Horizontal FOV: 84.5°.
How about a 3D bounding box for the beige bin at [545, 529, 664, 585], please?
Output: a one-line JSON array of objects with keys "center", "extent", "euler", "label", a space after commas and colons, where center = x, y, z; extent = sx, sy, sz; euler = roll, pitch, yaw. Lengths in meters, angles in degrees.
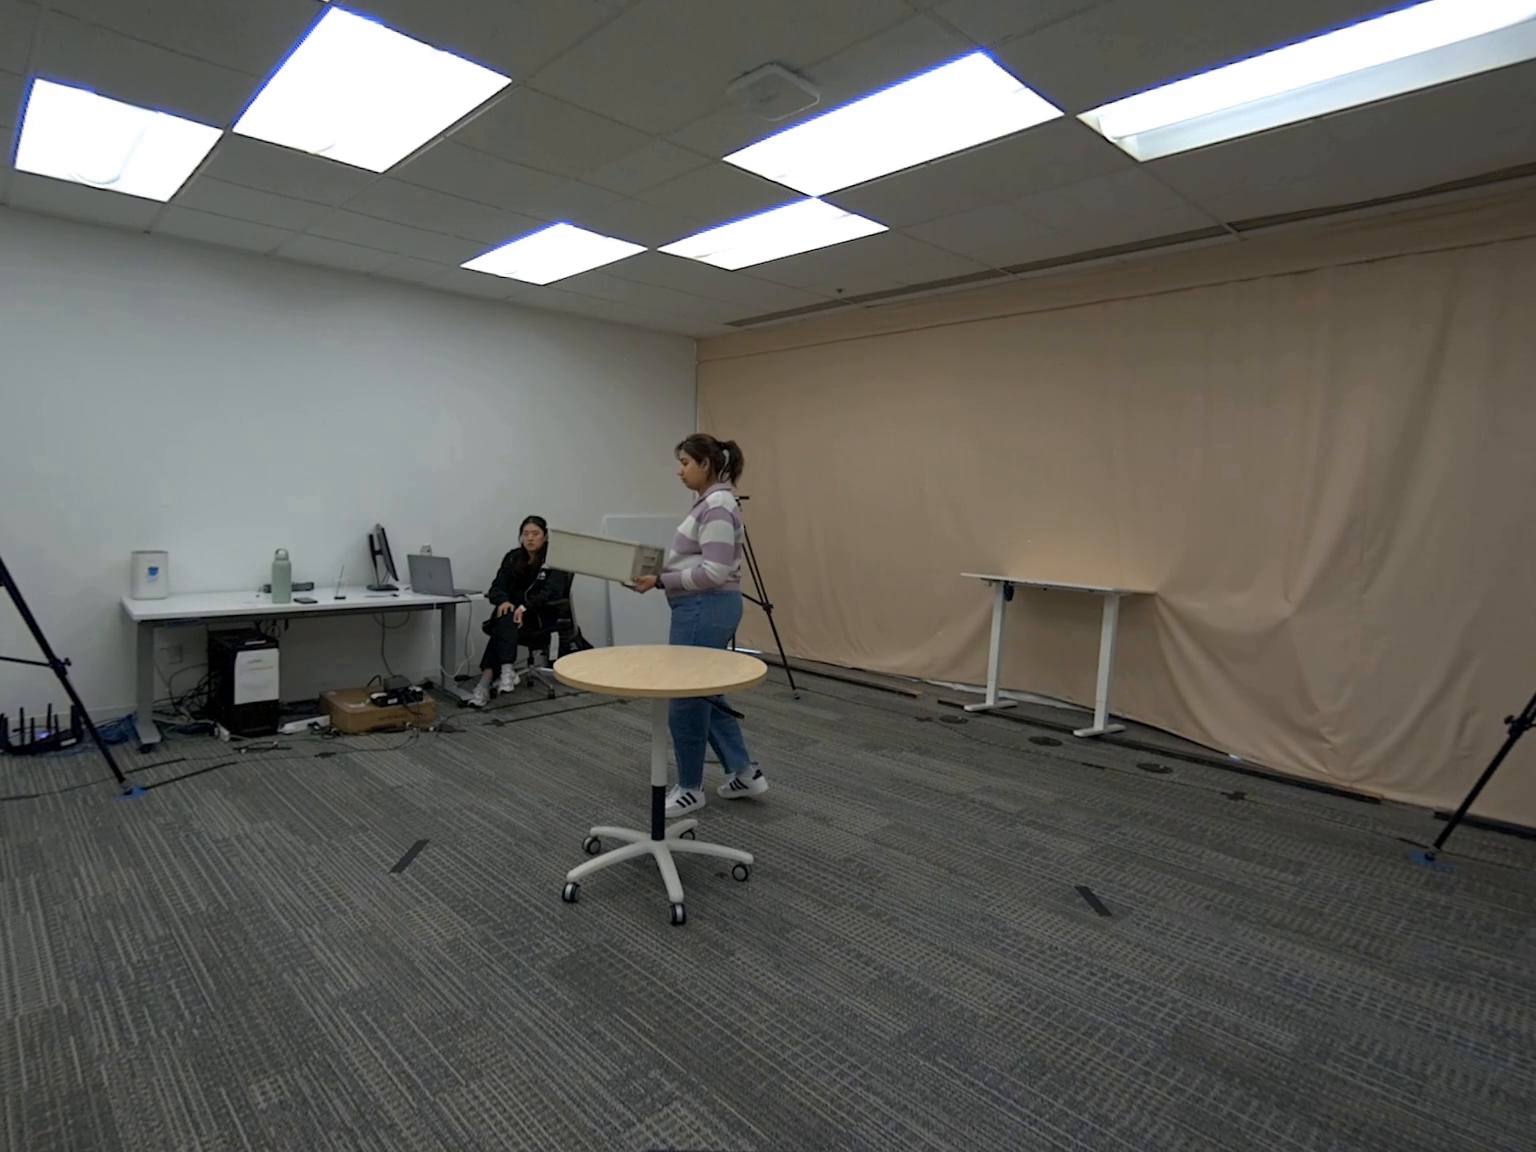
[{"center": [-0.709, -0.081, 3.674], "extent": [0.427, 0.189, 0.373], "euler": [11, 2, 11], "label": "beige bin"}]
